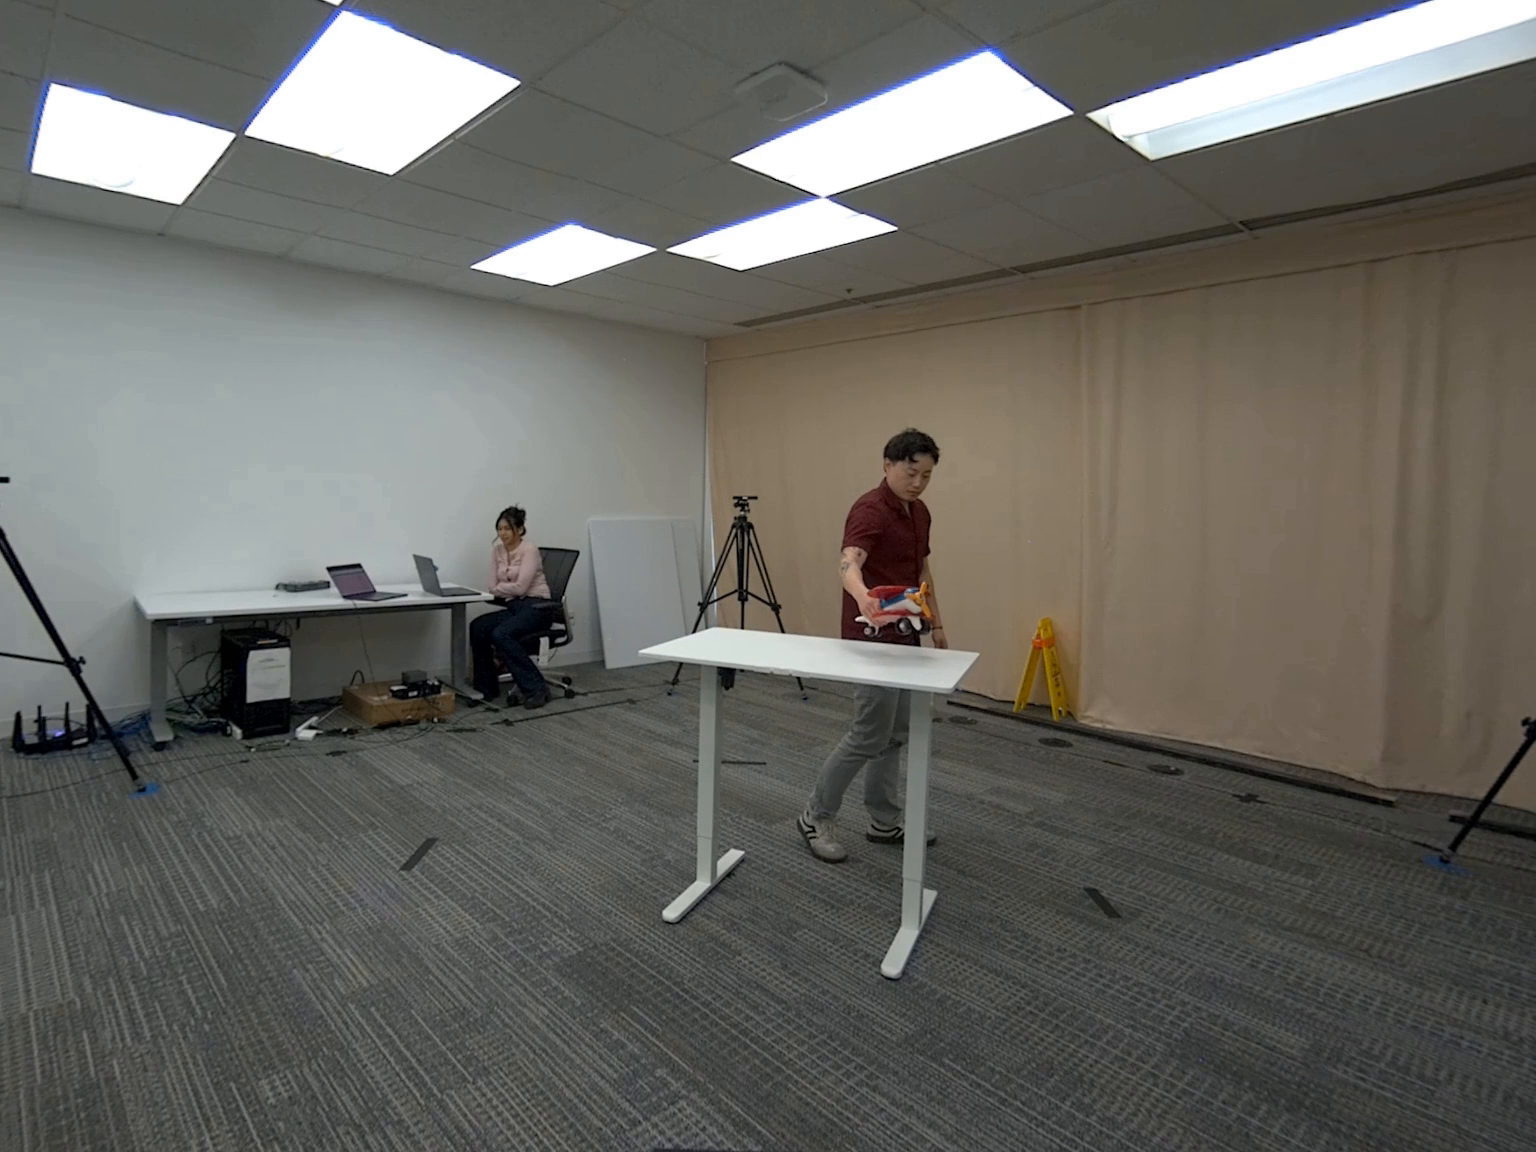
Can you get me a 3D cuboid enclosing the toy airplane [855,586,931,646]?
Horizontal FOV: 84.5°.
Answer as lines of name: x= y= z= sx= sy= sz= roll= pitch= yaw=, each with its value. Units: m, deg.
toy airplane: x=0.395 y=0.118 z=2.751 sx=0.264 sy=0.157 sz=0.245 roll=-5 pitch=-7 yaw=27
